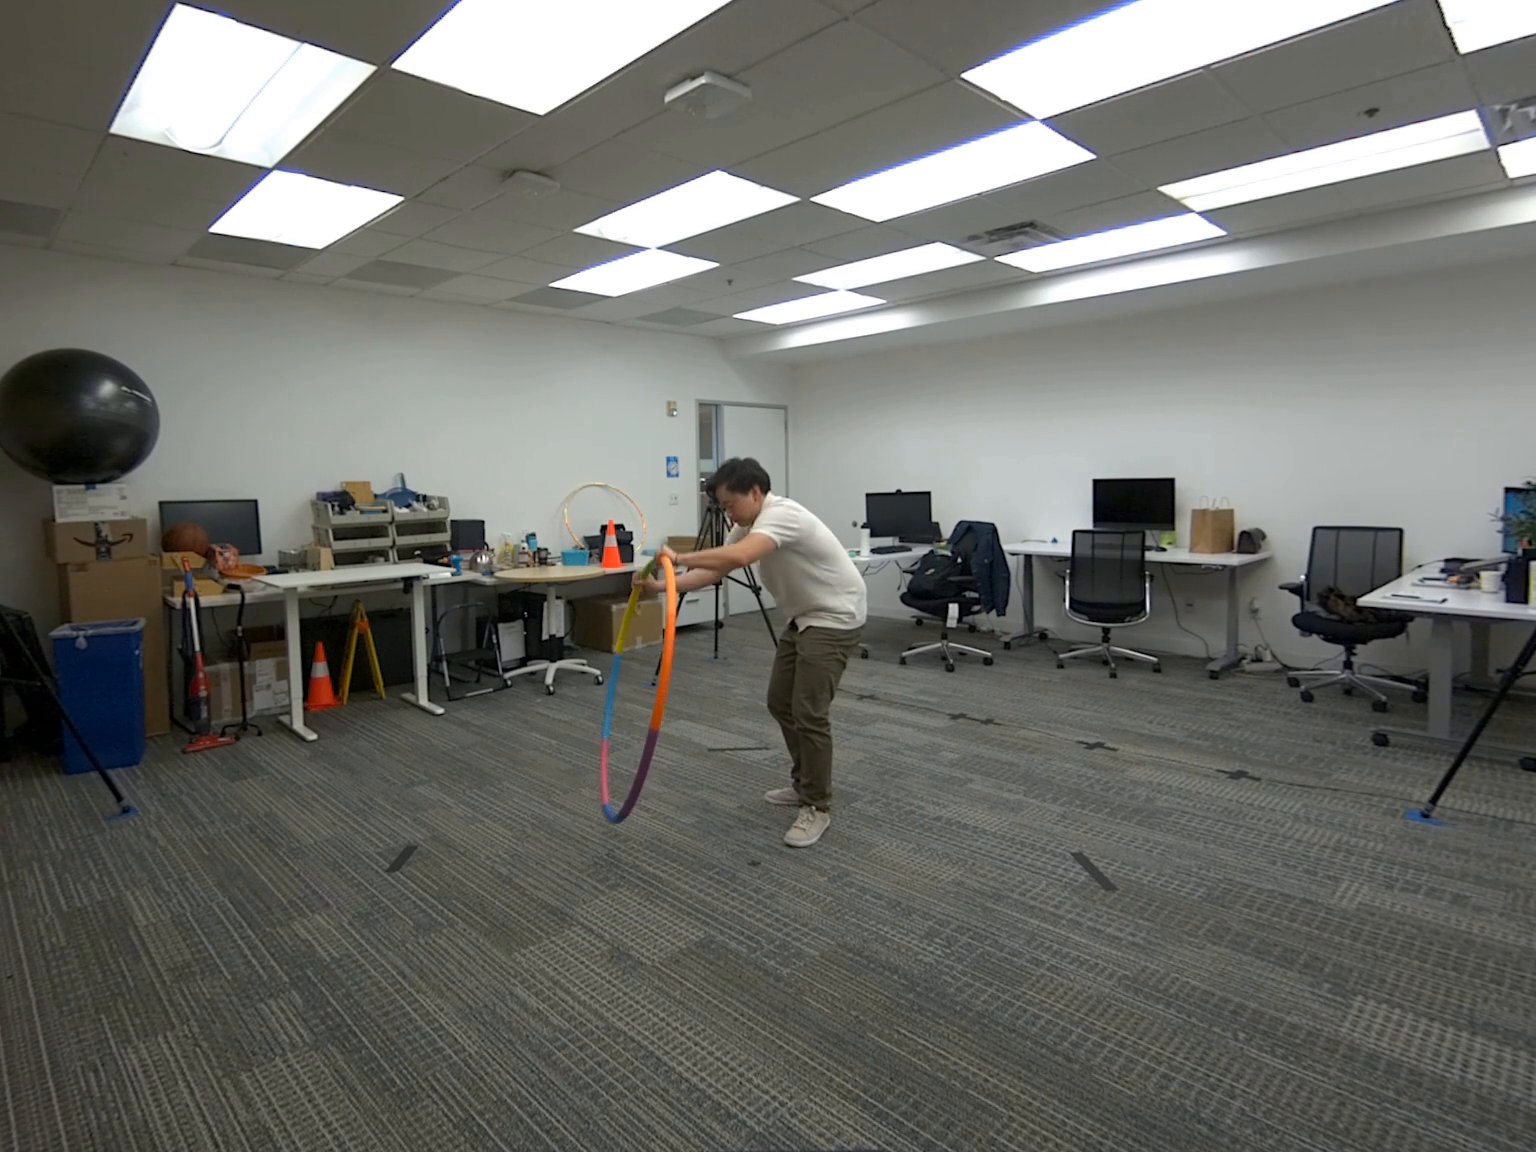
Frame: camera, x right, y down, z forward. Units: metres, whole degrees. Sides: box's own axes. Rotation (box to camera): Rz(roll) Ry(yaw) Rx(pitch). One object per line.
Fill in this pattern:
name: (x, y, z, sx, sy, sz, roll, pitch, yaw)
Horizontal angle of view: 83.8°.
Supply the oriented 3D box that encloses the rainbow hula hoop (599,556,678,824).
rainbow hula hoop: (-0.488, 0.400, 3.188, 0.035, 0.978, 0.997, 12, 1, -18)
